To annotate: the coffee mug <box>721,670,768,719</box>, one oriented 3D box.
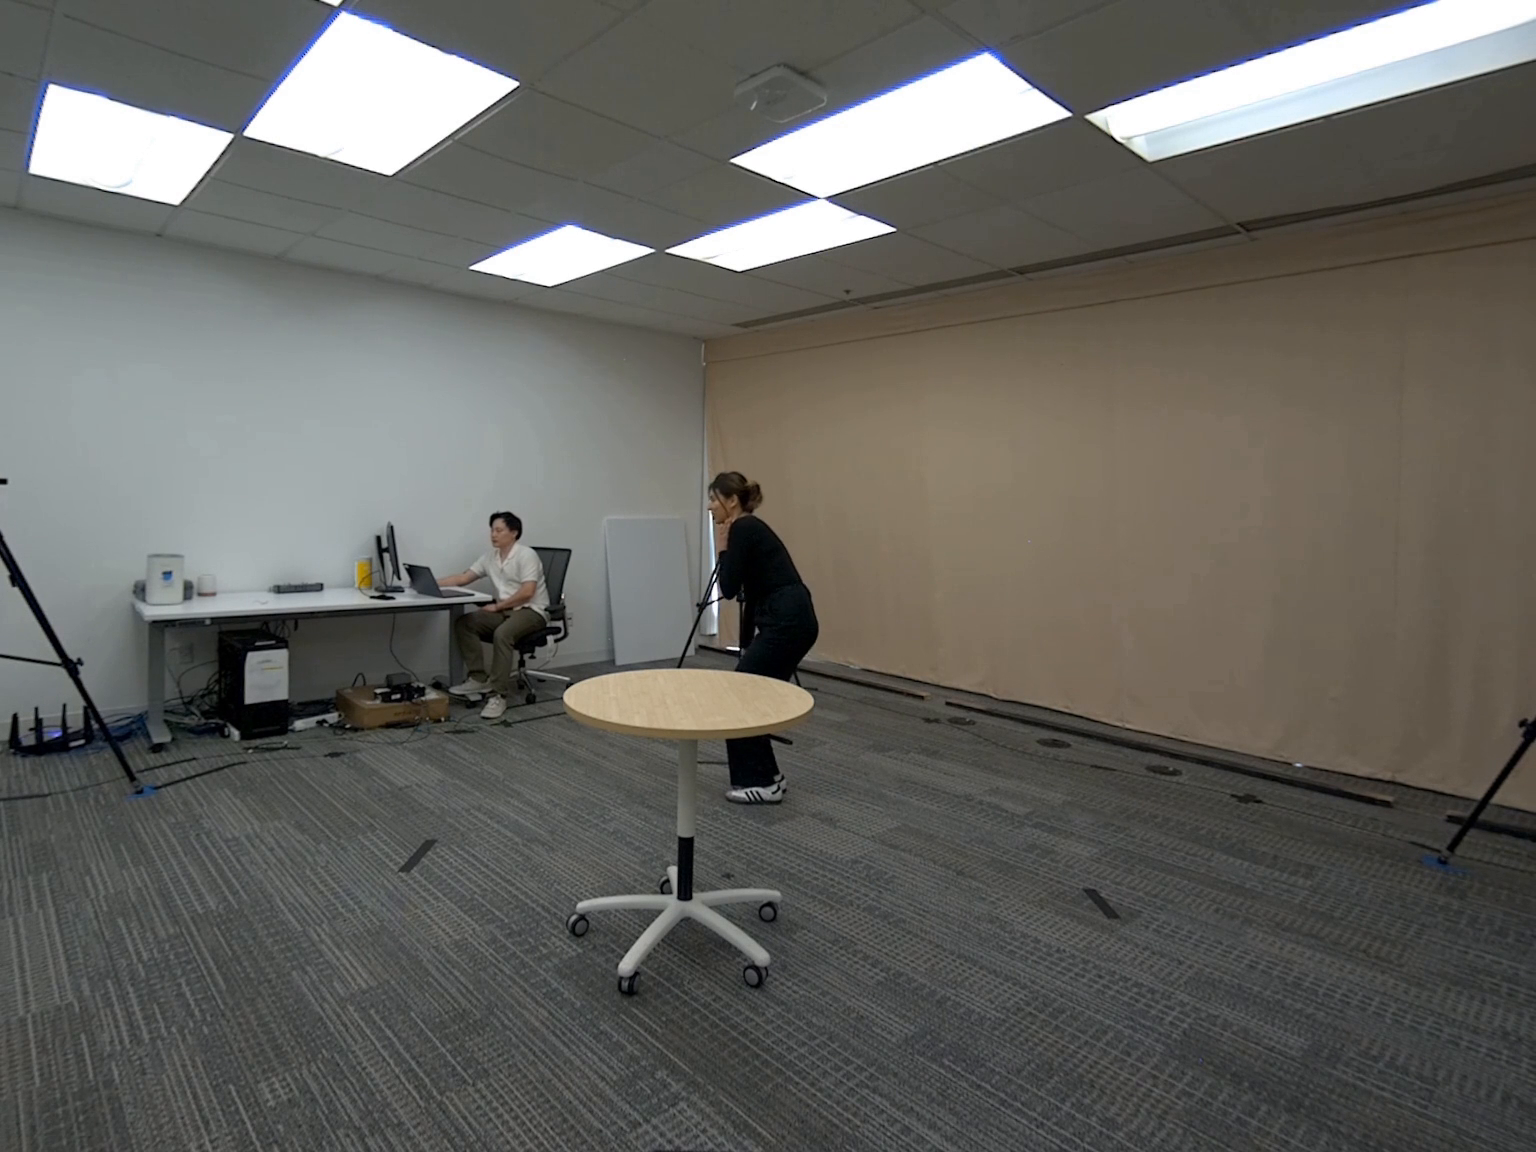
[{"bbox_3d":[-0.121,0.592,4.251,0.122,0.197,0.090,-48,32,-22],"label":"coffee mug"}]
